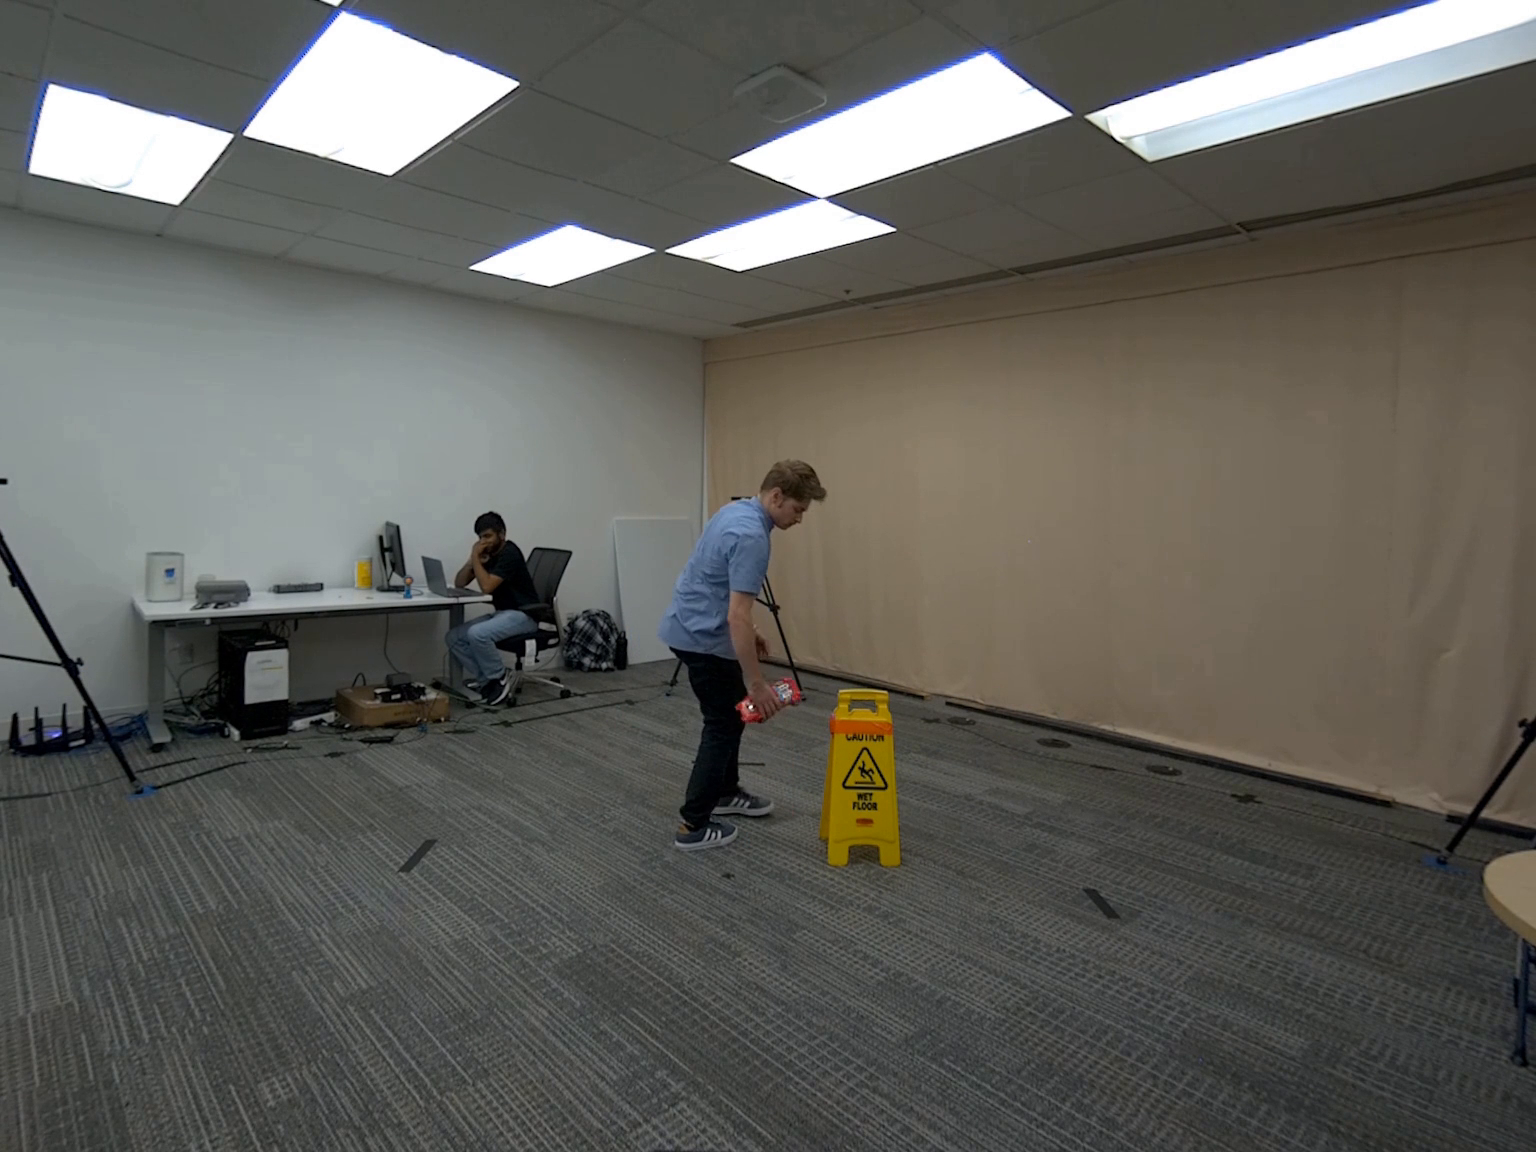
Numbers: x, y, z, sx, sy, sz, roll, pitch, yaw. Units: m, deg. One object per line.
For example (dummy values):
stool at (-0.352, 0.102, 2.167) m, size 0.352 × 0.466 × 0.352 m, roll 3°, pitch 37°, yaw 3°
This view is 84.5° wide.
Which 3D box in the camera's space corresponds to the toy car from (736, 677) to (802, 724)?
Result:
toy car at (-0.011, 0.498, 3.290) m, size 0.252 × 0.134 × 0.081 m, roll -21°, pitch -34°, yaw -20°
